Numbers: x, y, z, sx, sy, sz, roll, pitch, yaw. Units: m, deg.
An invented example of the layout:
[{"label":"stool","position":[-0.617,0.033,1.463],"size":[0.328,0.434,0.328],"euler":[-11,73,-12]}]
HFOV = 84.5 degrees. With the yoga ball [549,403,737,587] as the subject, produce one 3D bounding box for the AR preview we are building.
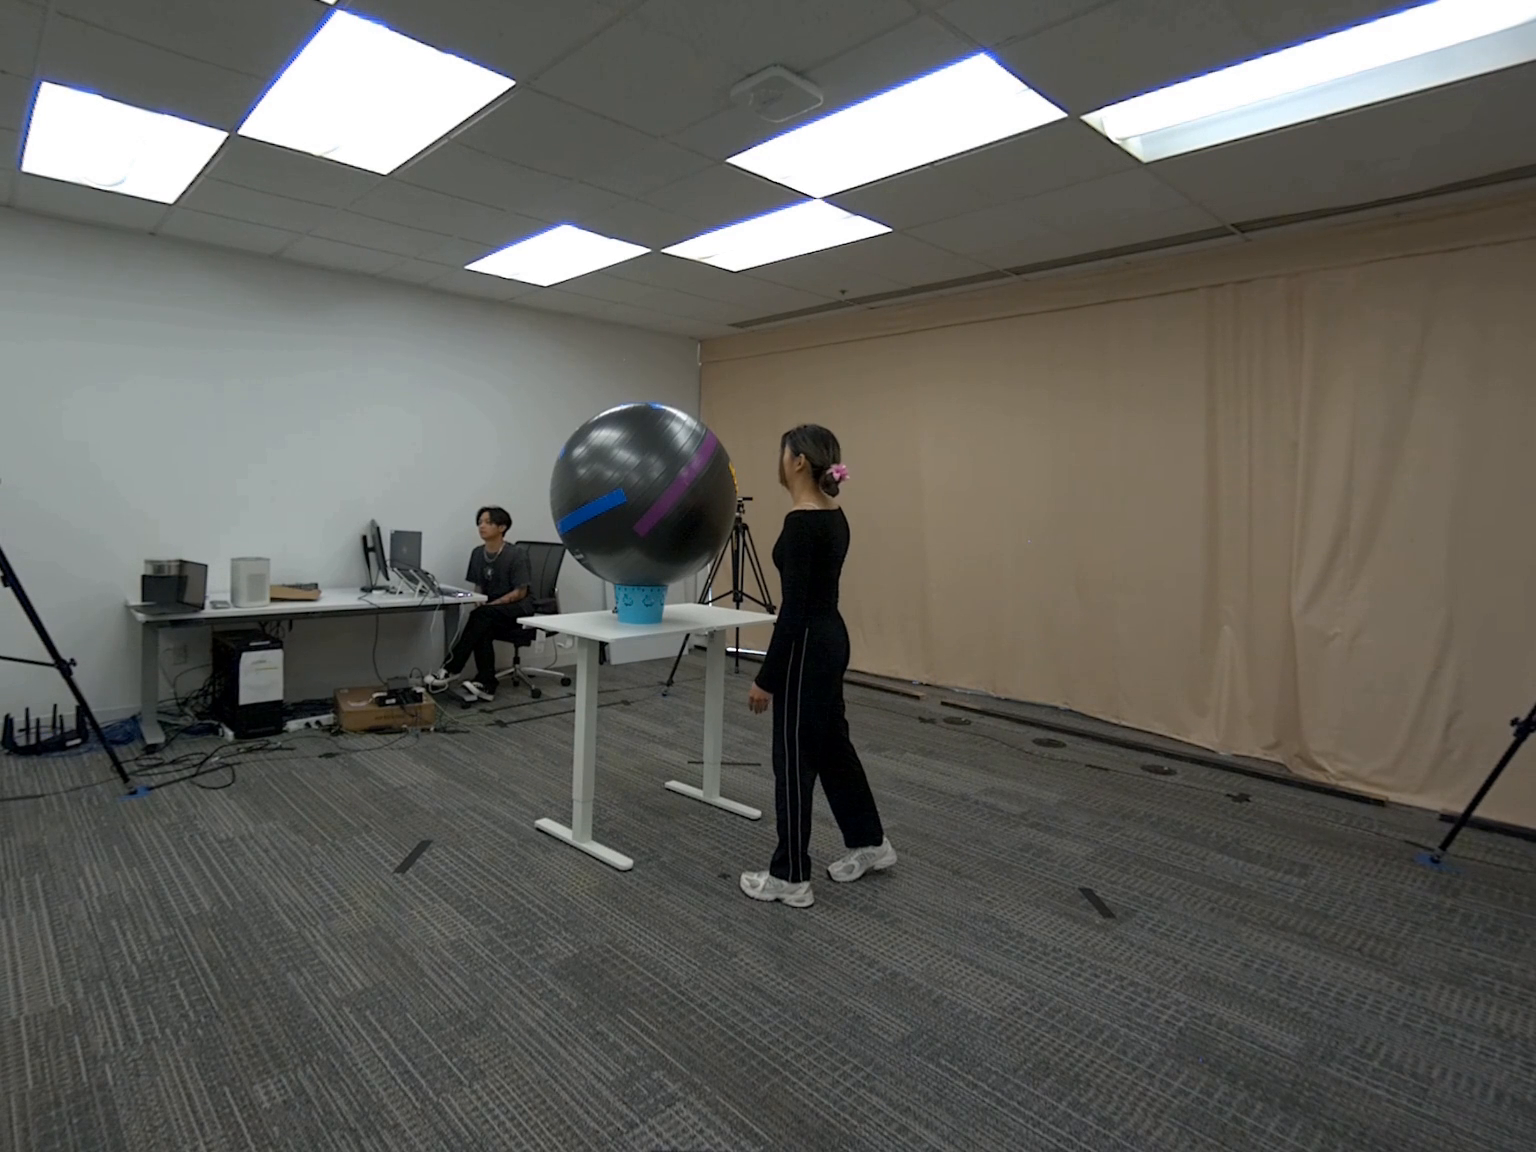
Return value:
[{"label":"yoga ball","position":[-0.508,-0.319,3.435],"size":[0.757,0.756,0.760],"euler":[1,4,-1]}]
